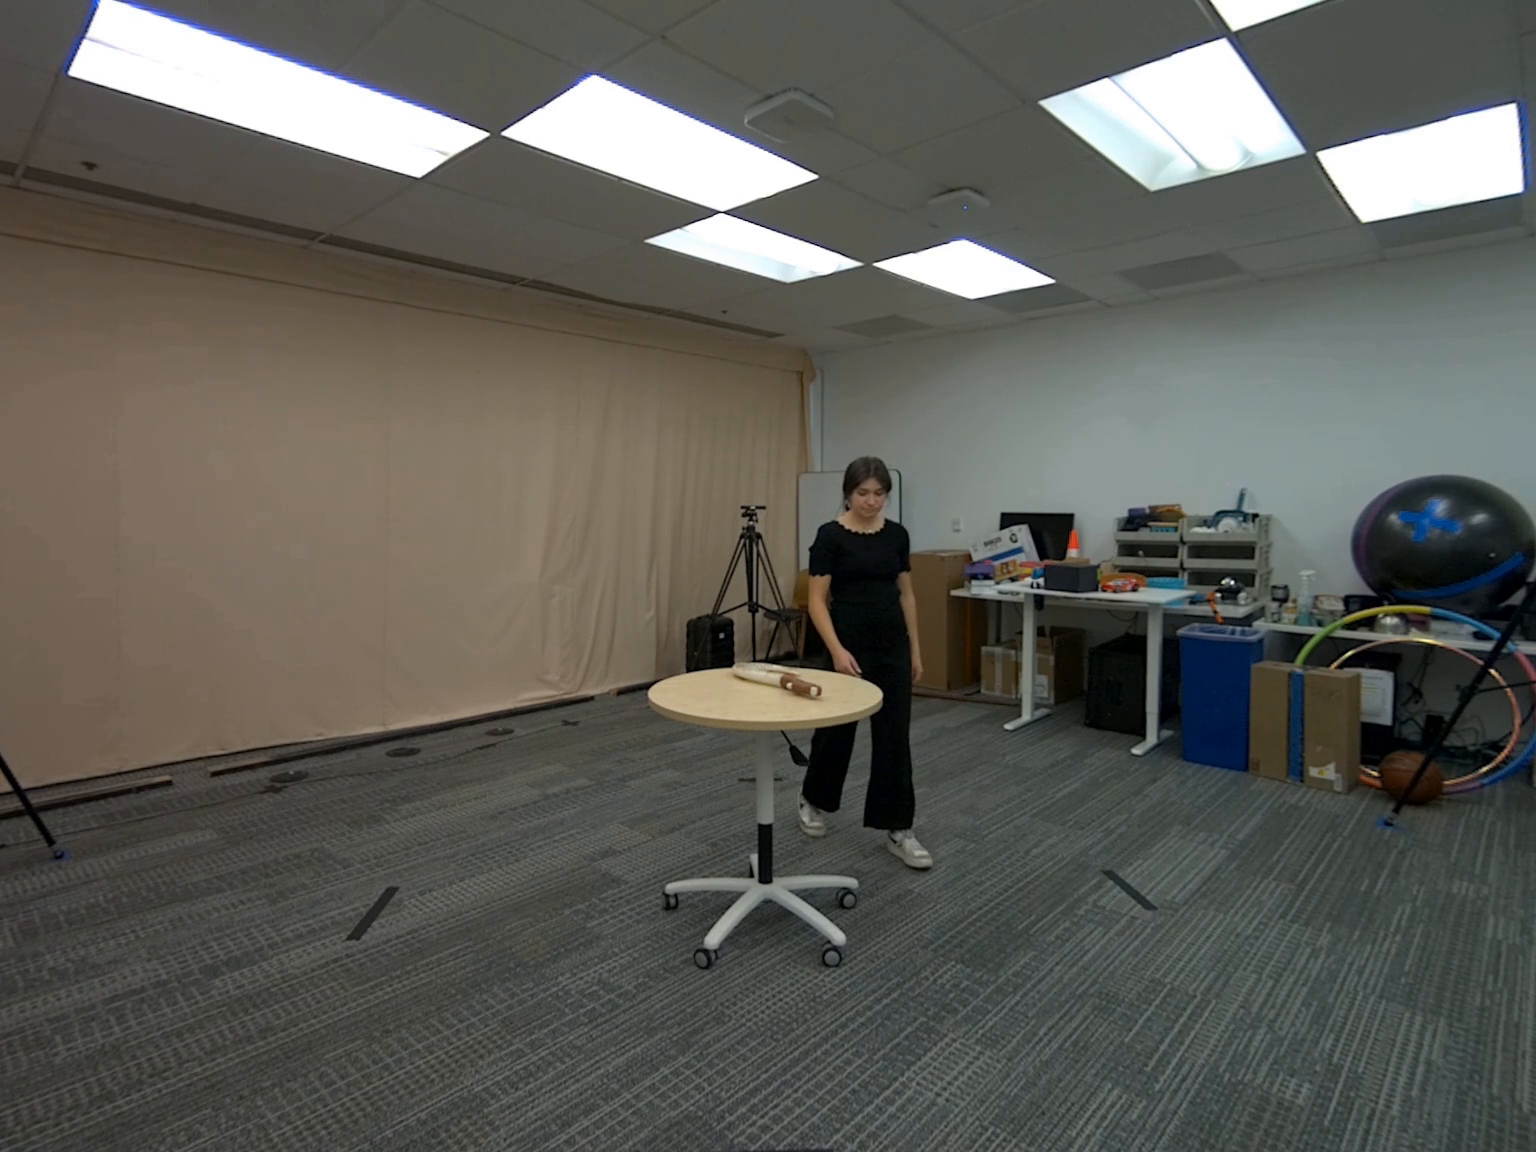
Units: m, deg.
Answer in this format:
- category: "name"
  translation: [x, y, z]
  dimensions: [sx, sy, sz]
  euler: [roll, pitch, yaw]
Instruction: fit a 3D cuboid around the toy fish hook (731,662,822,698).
- category: "toy fish hook"
  translation: [0.074, 0.344, 2.866]
  dimensions: [0.219, 0.048, 0.521]
  euler: [-9, 8, -29]
